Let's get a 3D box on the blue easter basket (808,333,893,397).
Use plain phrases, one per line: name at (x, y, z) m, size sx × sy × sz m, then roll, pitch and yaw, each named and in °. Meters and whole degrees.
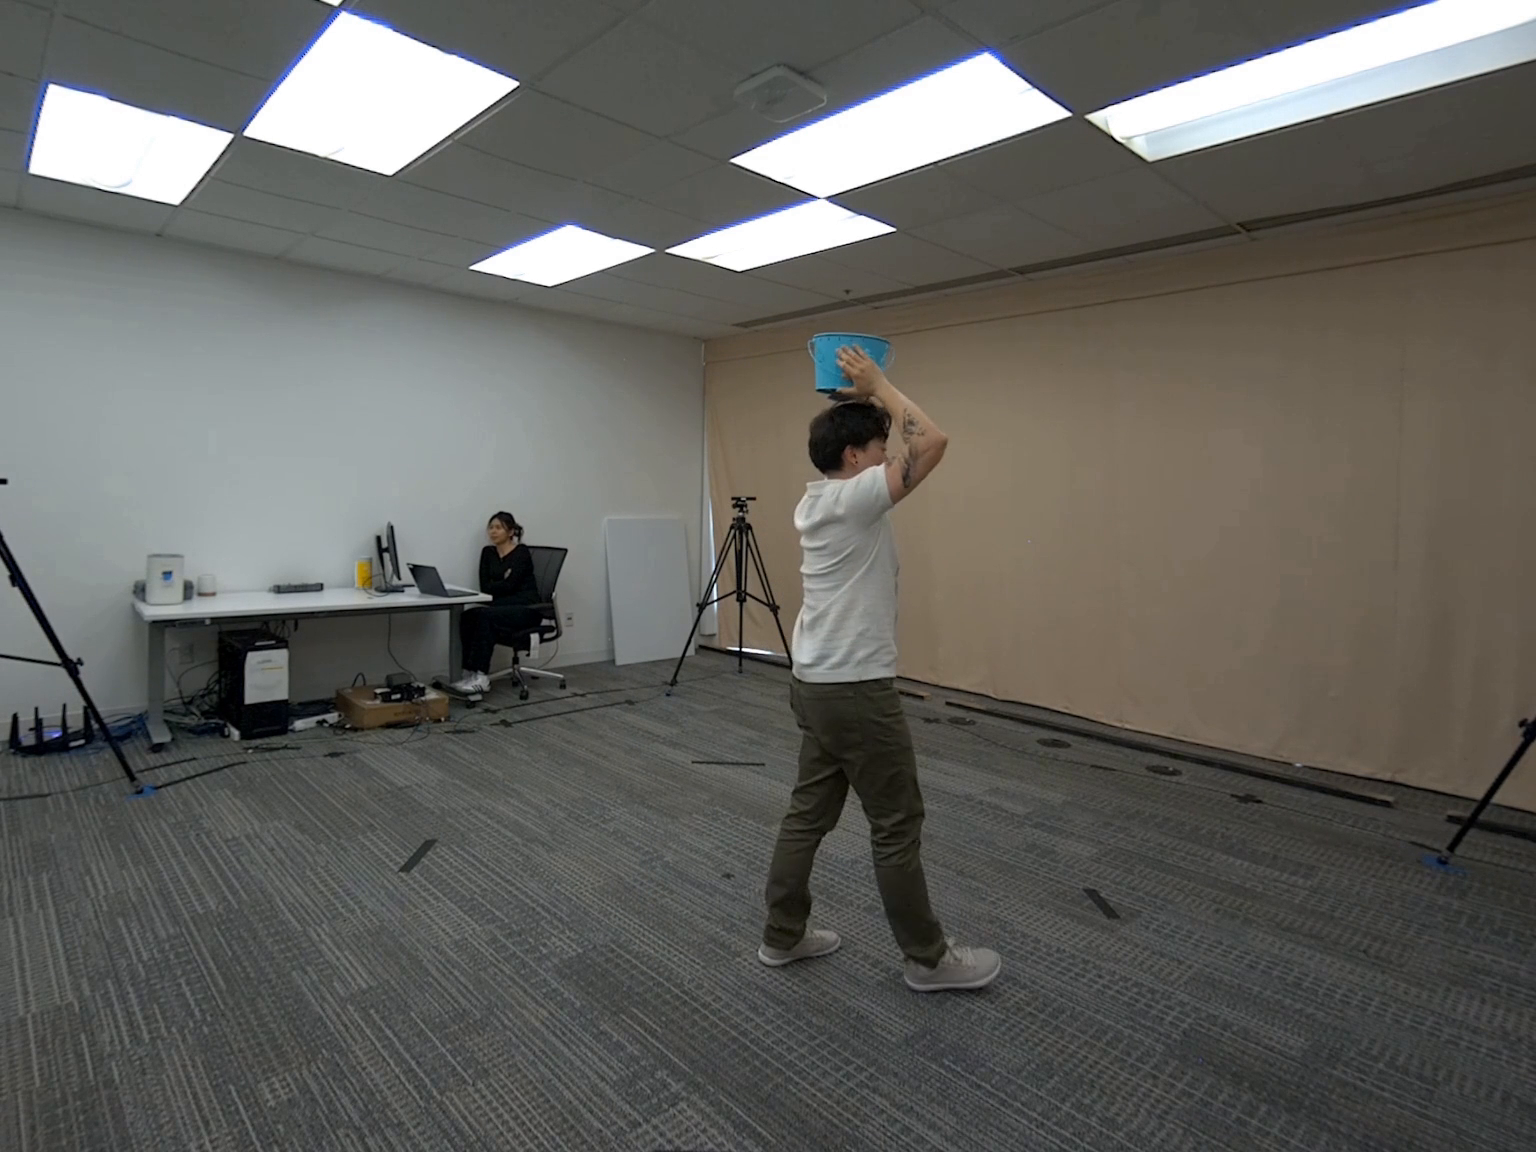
blue easter basket at (0.234, -0.615, 2.454) m, size 0.243 × 0.155 × 0.245 m, roll 6°, pitch 6°, yaw -2°
